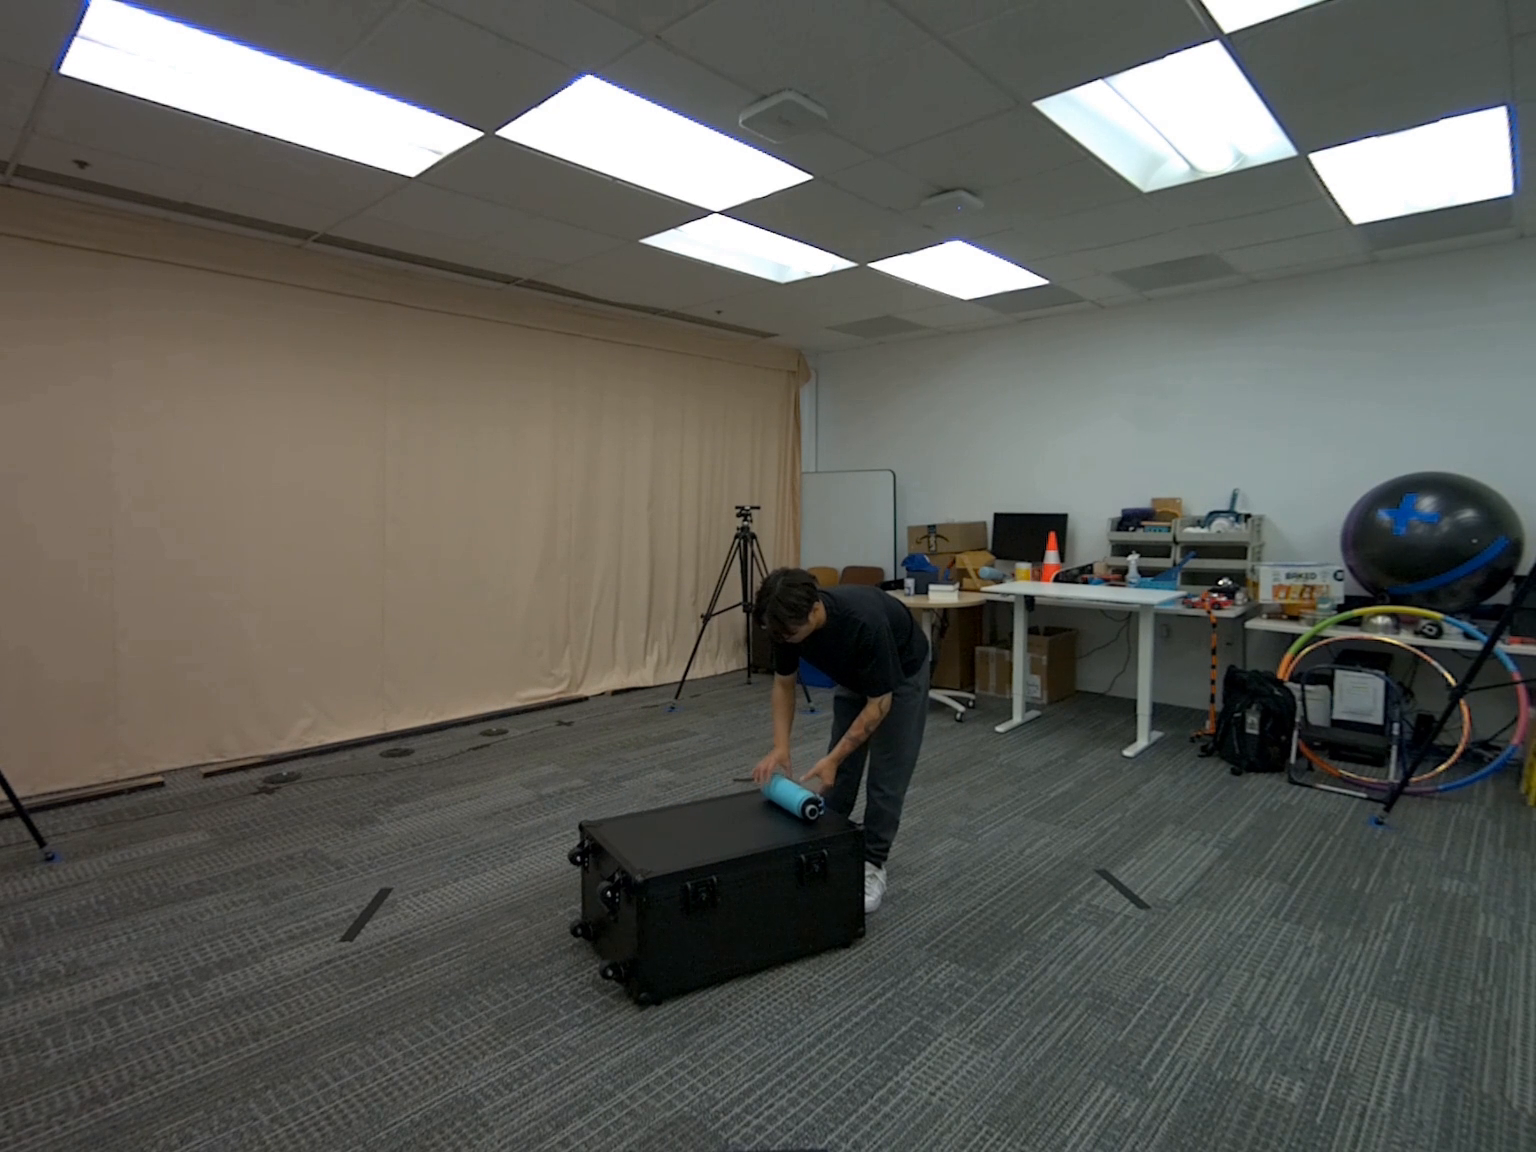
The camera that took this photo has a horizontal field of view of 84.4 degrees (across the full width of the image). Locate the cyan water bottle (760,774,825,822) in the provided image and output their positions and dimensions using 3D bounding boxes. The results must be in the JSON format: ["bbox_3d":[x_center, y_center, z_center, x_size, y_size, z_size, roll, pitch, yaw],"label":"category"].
[{"bbox_3d":[0.089,0.731,2.801,0.090,0.092,0.291,-2,4,-29],"label":"cyan water bottle"}]
